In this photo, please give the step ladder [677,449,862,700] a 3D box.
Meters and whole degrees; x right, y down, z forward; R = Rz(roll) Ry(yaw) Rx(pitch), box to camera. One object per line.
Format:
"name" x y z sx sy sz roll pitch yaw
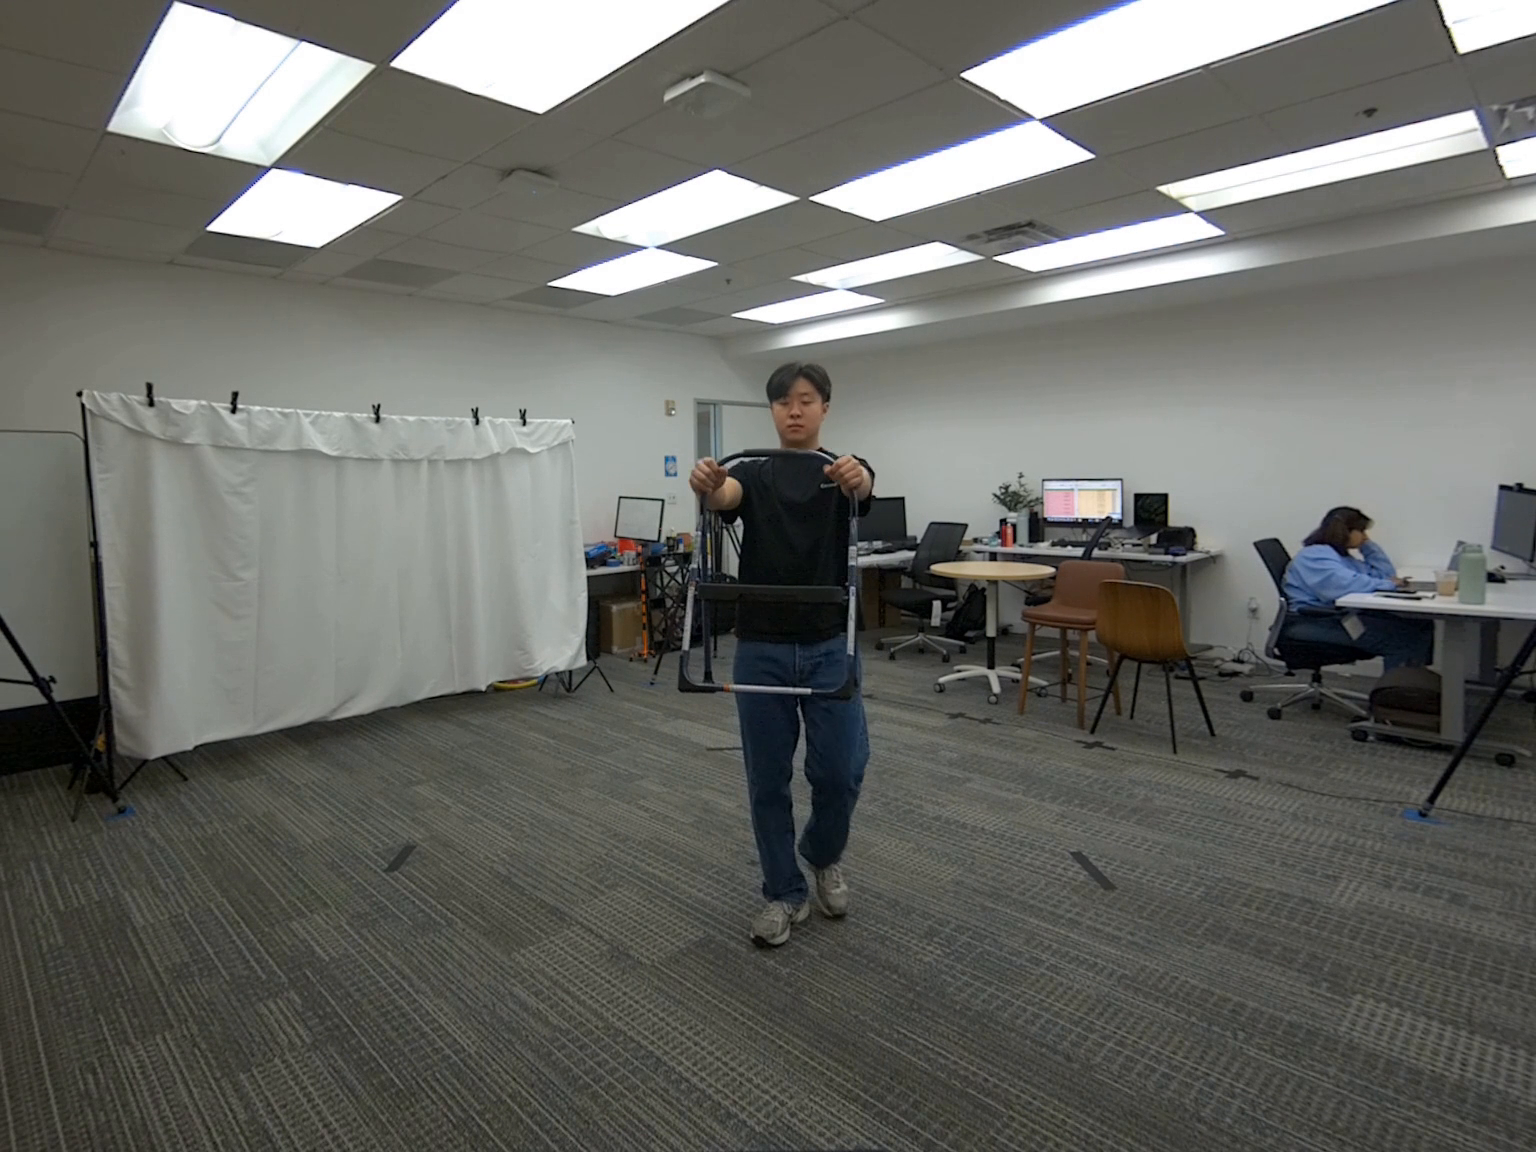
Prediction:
"step ladder" 0.013 -0.008 2.193 0.435 0.608 0.345 1 -3 9
